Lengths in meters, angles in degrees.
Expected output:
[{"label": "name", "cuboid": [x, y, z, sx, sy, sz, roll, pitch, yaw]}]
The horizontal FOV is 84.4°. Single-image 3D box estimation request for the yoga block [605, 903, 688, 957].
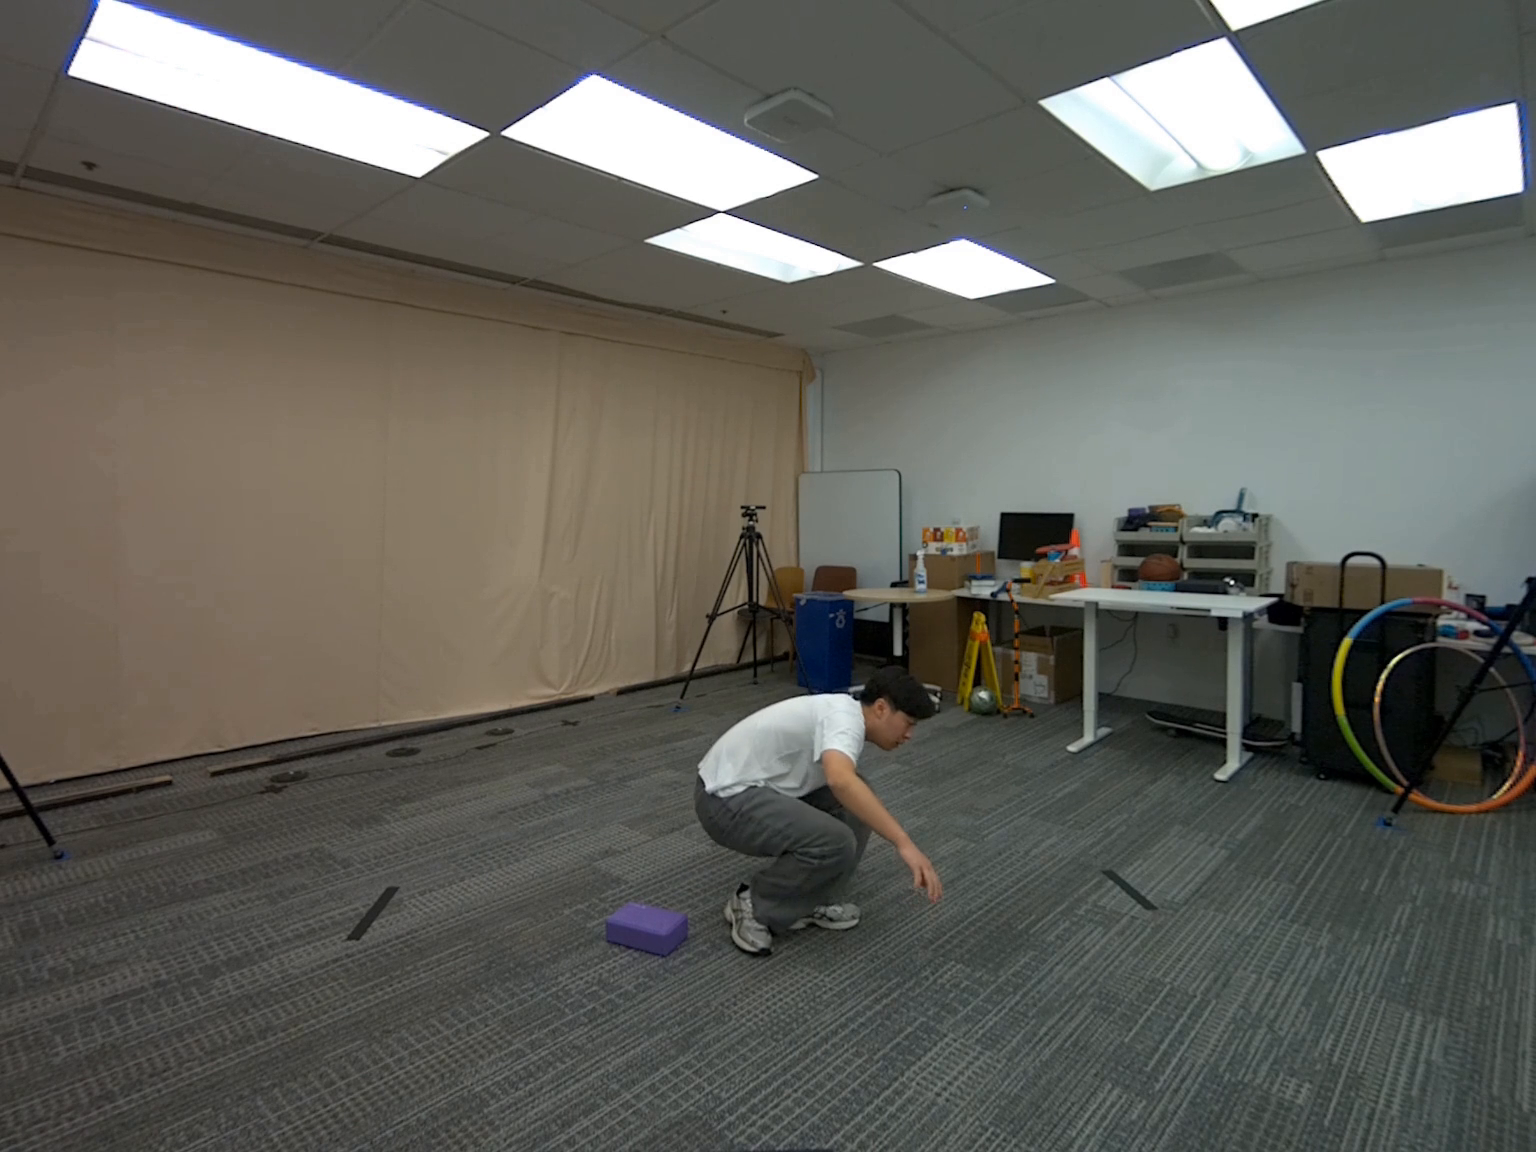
[{"label": "yoga block", "cuboid": [-0.381, 1.136, 2.705, 0.235, 0.076, 0.145, 1, 4, 25]}]
